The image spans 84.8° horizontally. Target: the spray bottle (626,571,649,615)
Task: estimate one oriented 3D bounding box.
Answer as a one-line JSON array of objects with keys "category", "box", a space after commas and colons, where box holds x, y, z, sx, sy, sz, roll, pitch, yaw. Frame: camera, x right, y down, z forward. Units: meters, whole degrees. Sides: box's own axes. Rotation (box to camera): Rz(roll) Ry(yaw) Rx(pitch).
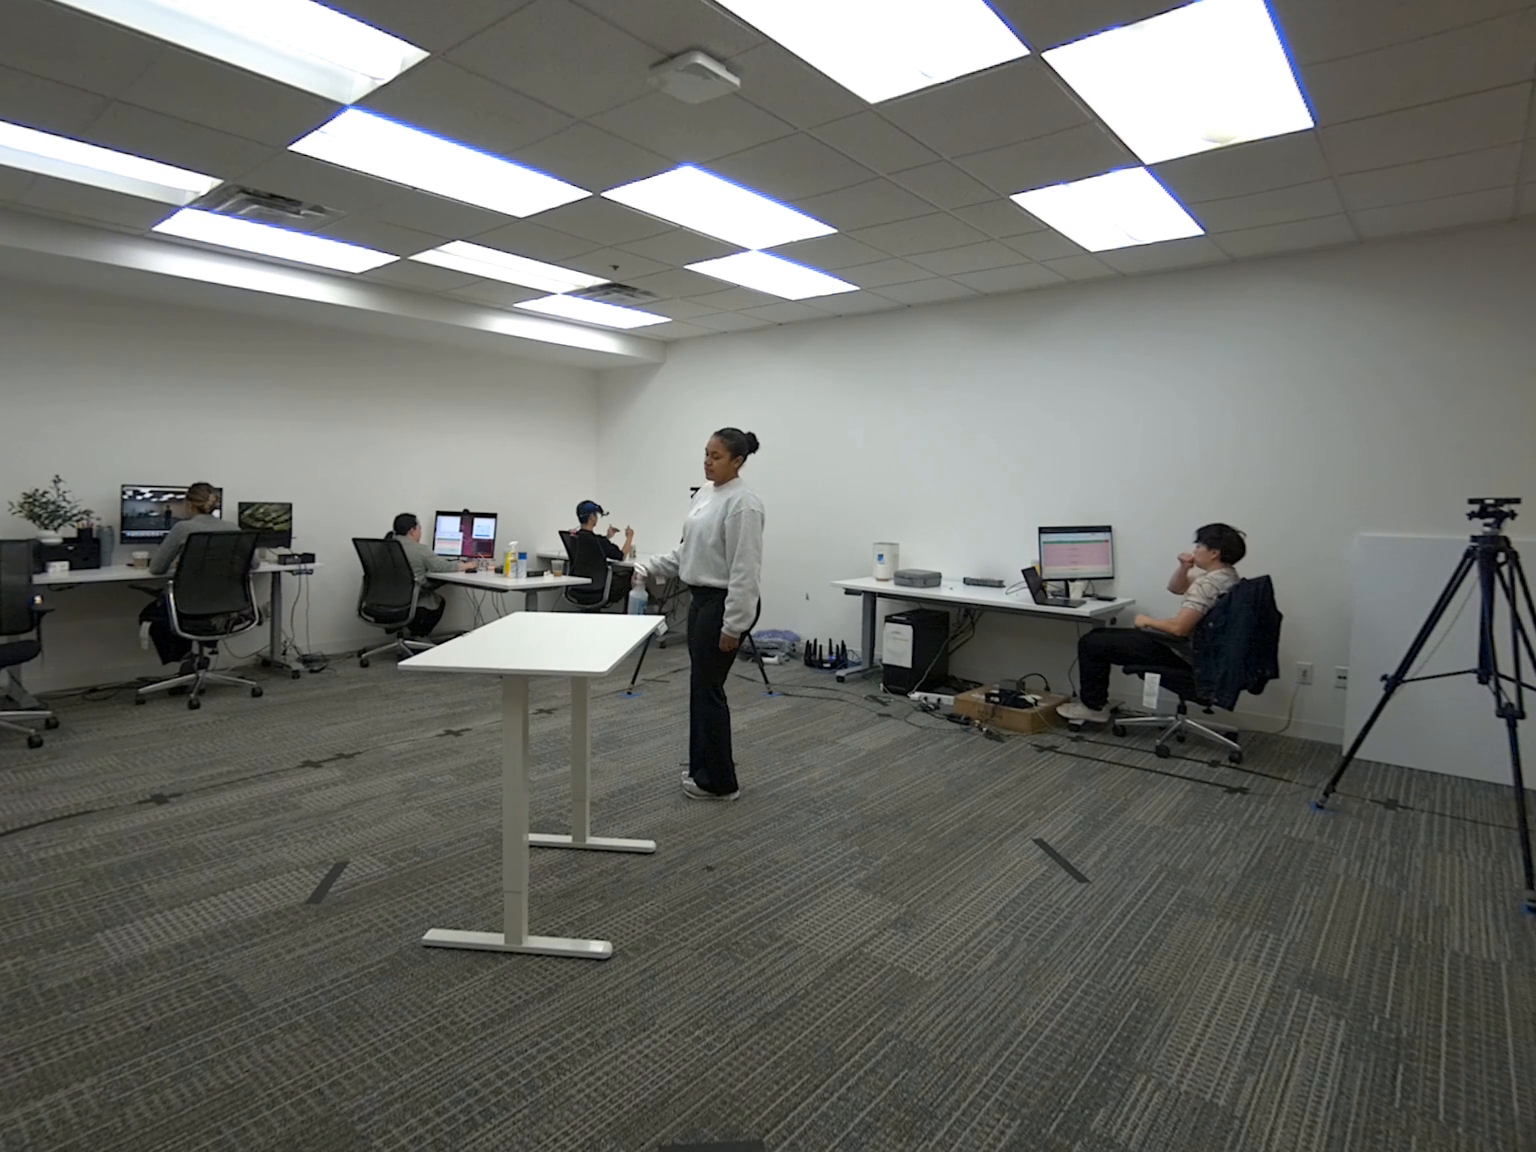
[{"category": "spray bottle", "box": [-0.613, 0.084, 3.996, 0.085, 0.294, 0.093, 3, 15, -24]}]
